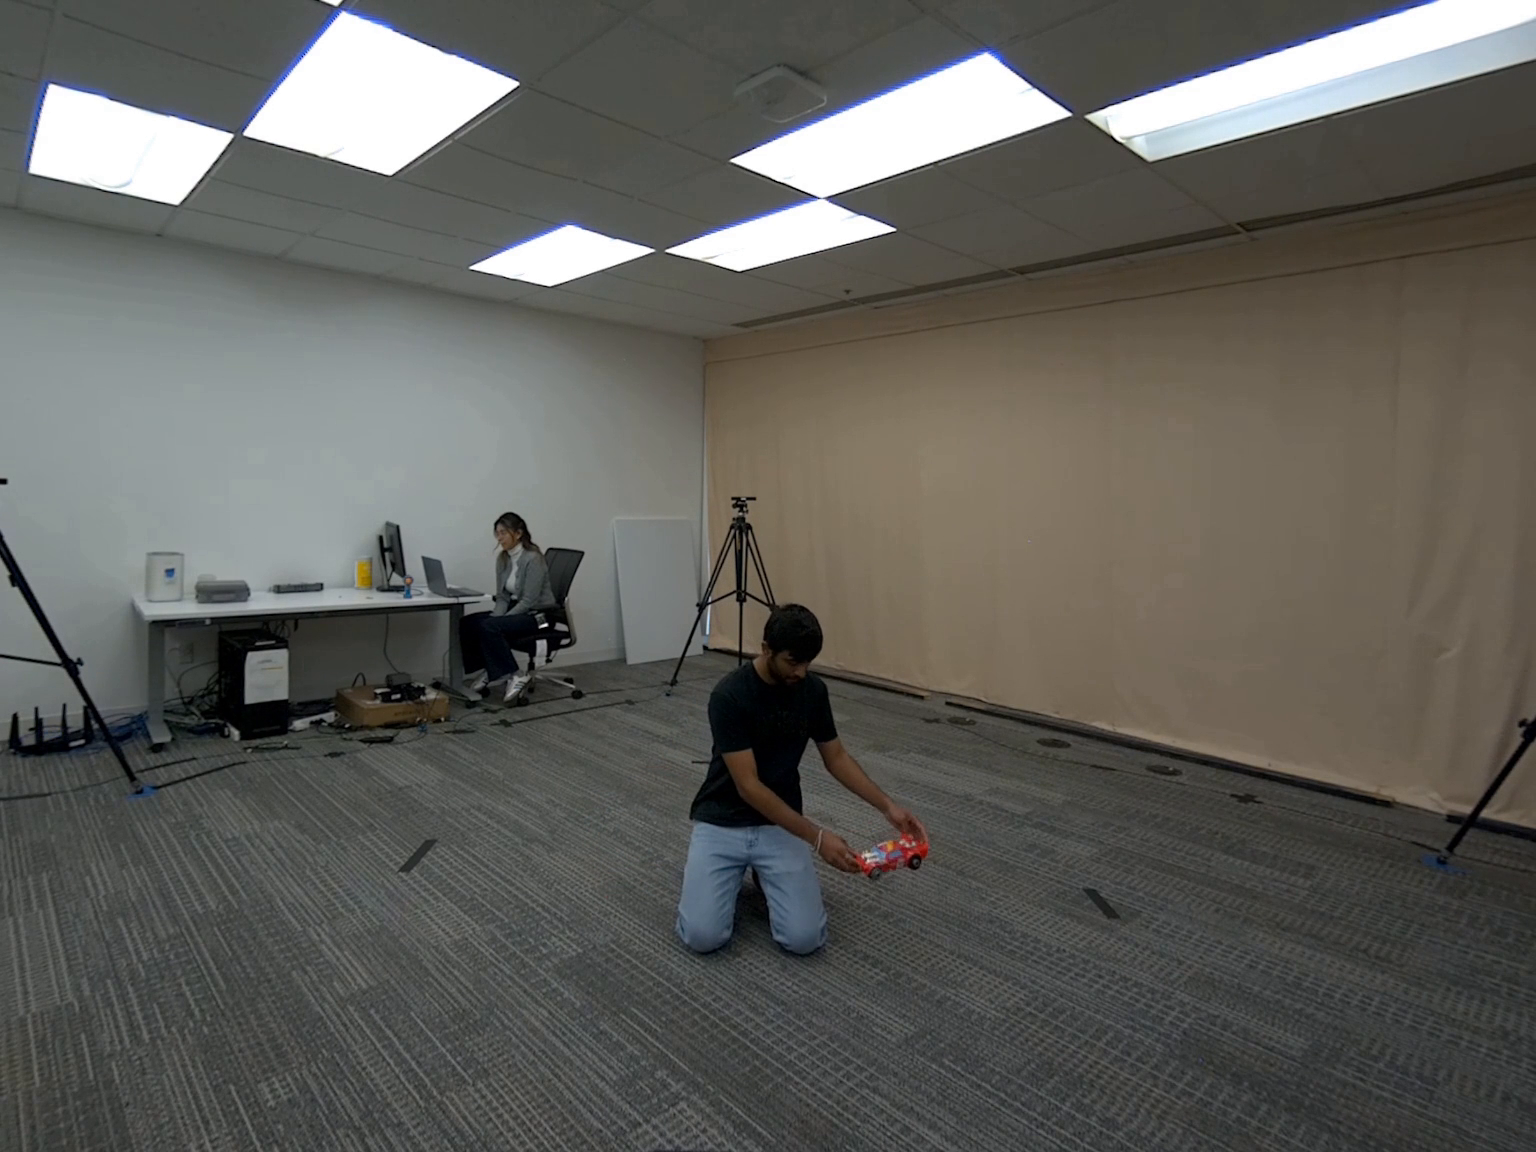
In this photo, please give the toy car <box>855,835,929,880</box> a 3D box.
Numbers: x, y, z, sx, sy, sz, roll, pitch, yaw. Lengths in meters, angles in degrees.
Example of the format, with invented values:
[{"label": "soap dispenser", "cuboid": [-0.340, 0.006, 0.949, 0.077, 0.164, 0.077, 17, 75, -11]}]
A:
[{"label": "toy car", "cuboid": [0.372, 0.883, 2.611, 0.251, 0.082, 0.133, -15, 12, -22]}]
